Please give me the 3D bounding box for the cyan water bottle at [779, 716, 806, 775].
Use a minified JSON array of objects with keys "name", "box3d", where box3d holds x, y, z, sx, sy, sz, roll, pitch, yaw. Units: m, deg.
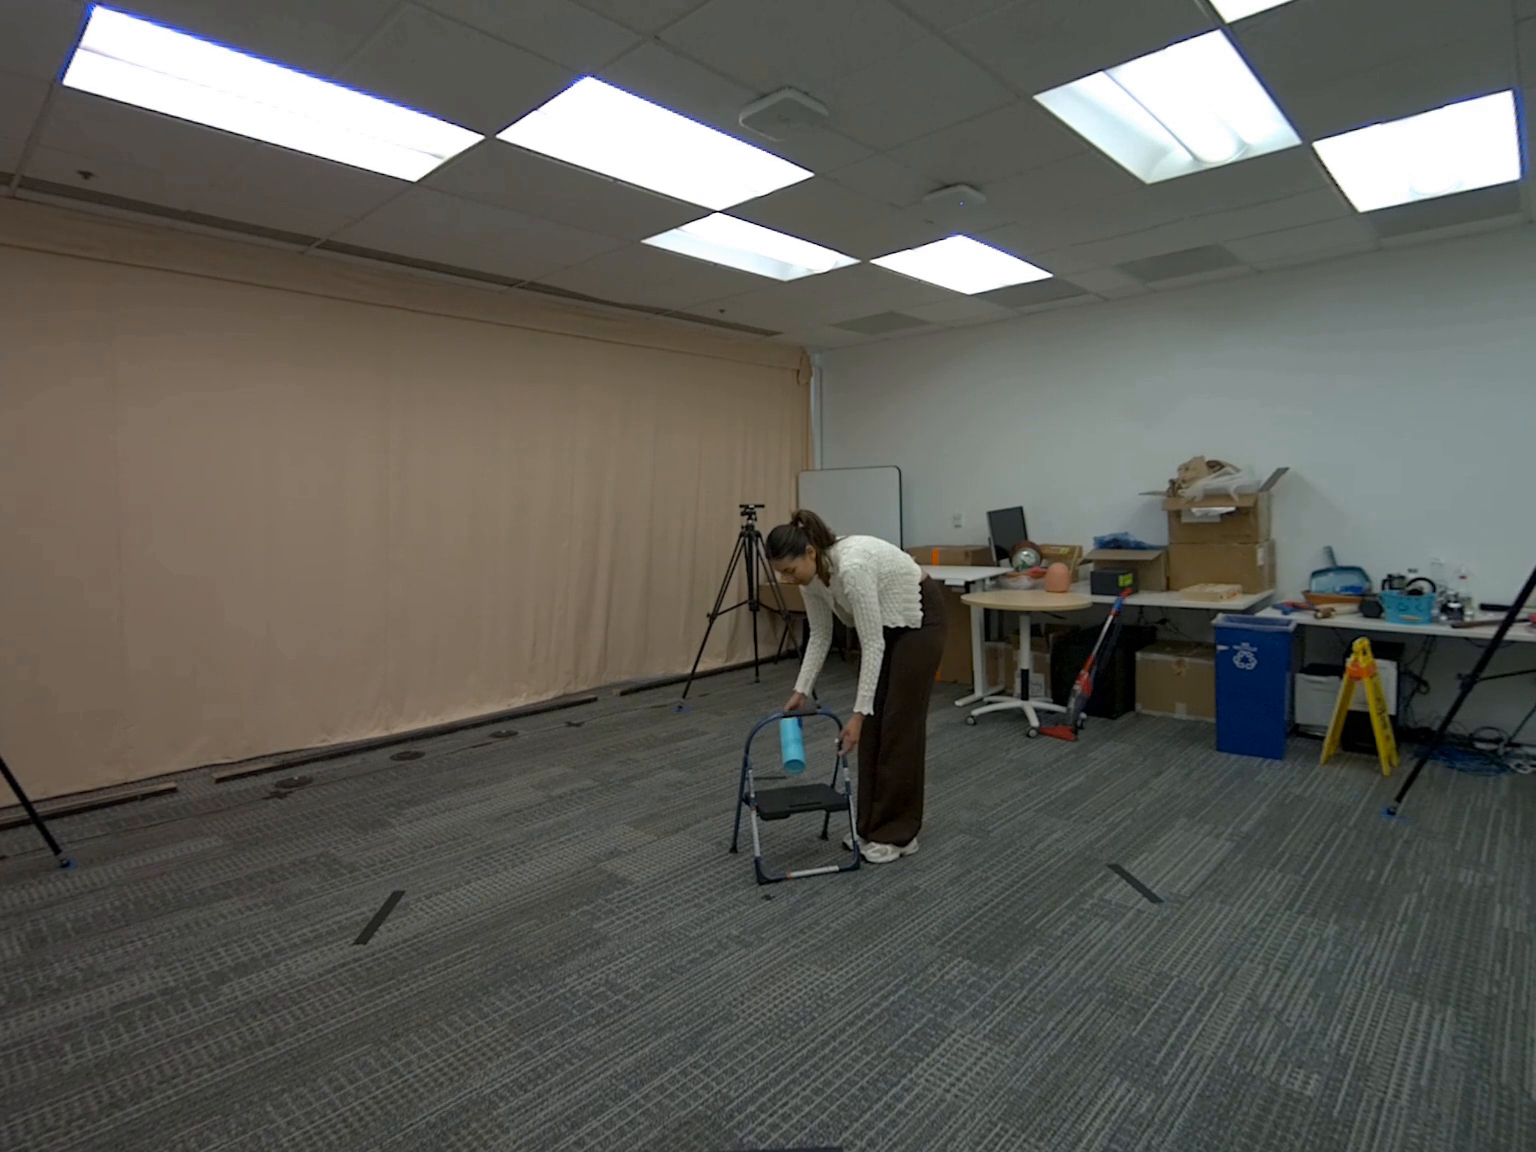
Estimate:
[{"name":"cyan water bottle","box3d":[0.103,0.651,3.353,0.093,0.090,0.288,-1,36,2]}]
